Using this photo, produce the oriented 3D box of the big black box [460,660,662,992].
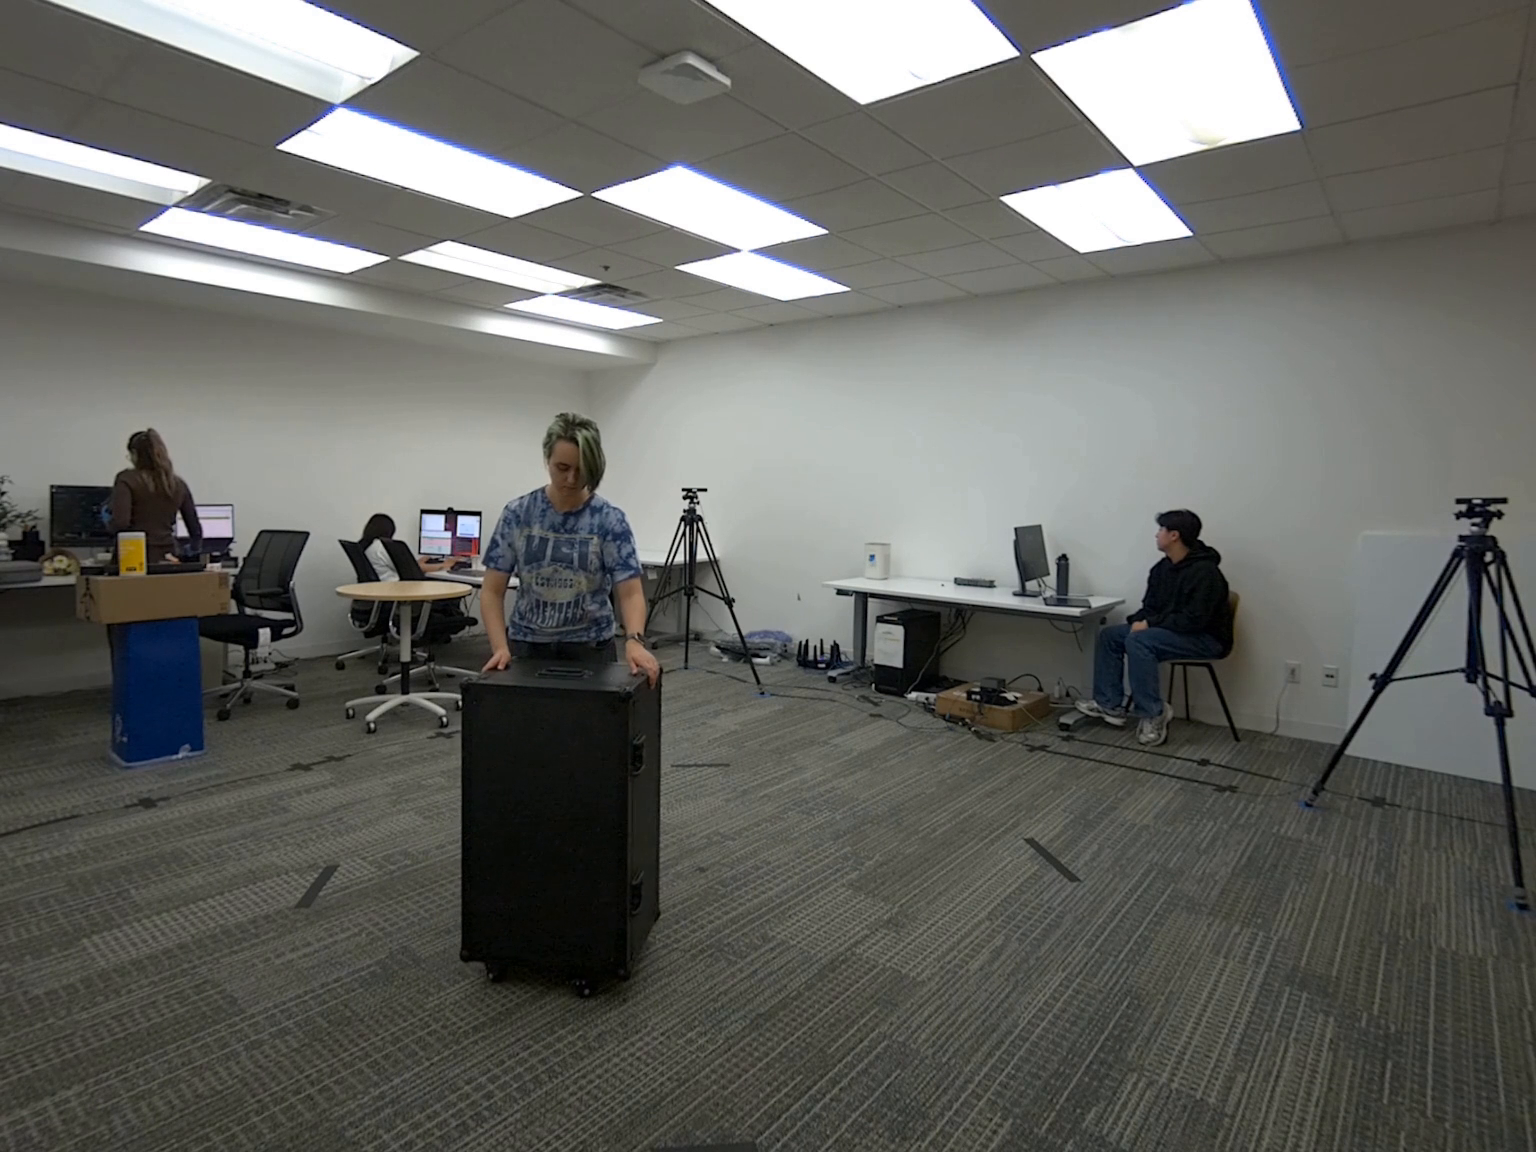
[{"bbox_3d":[-0.604,0.707,2.480,0.529,0.860,0.391,1,2,13],"label":"big black box"}]
